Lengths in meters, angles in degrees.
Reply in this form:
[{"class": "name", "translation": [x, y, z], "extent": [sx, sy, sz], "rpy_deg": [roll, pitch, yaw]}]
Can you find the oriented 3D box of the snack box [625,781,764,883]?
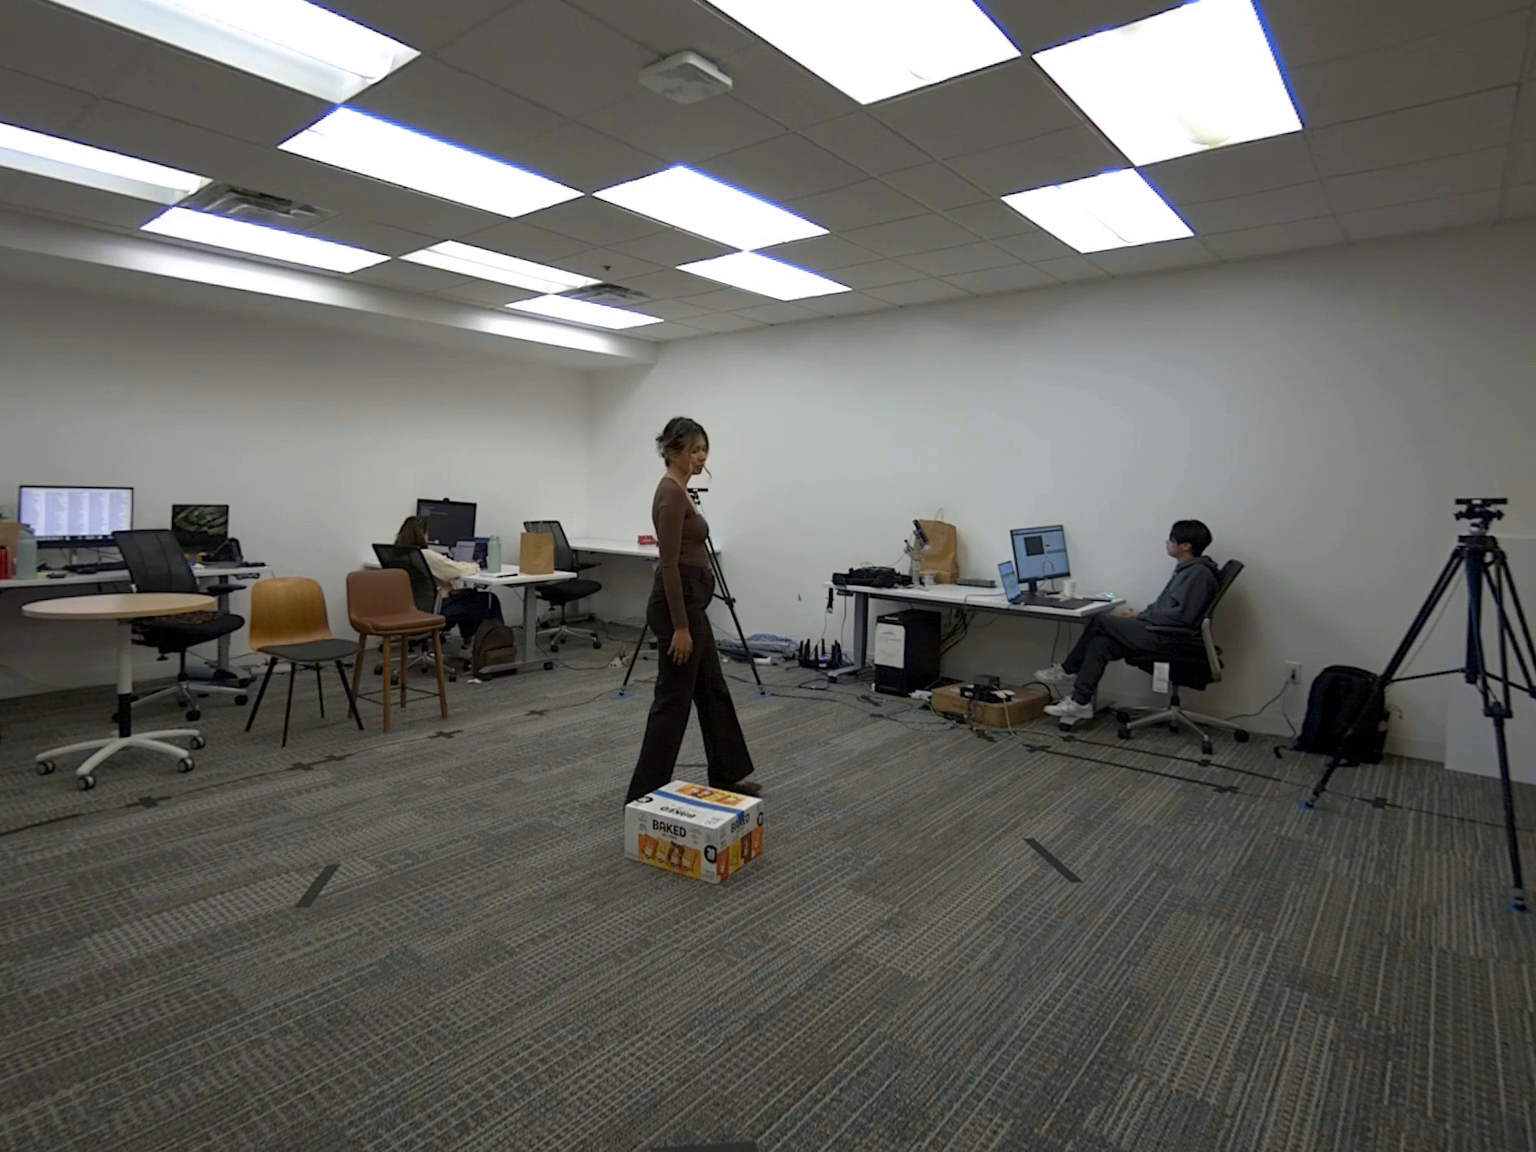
[{"class": "snack box", "translation": [-0.289, 0.955, 3.225], "extent": [0.417, 0.205, 0.331], "rpy_deg": [4, 5, 30]}]
